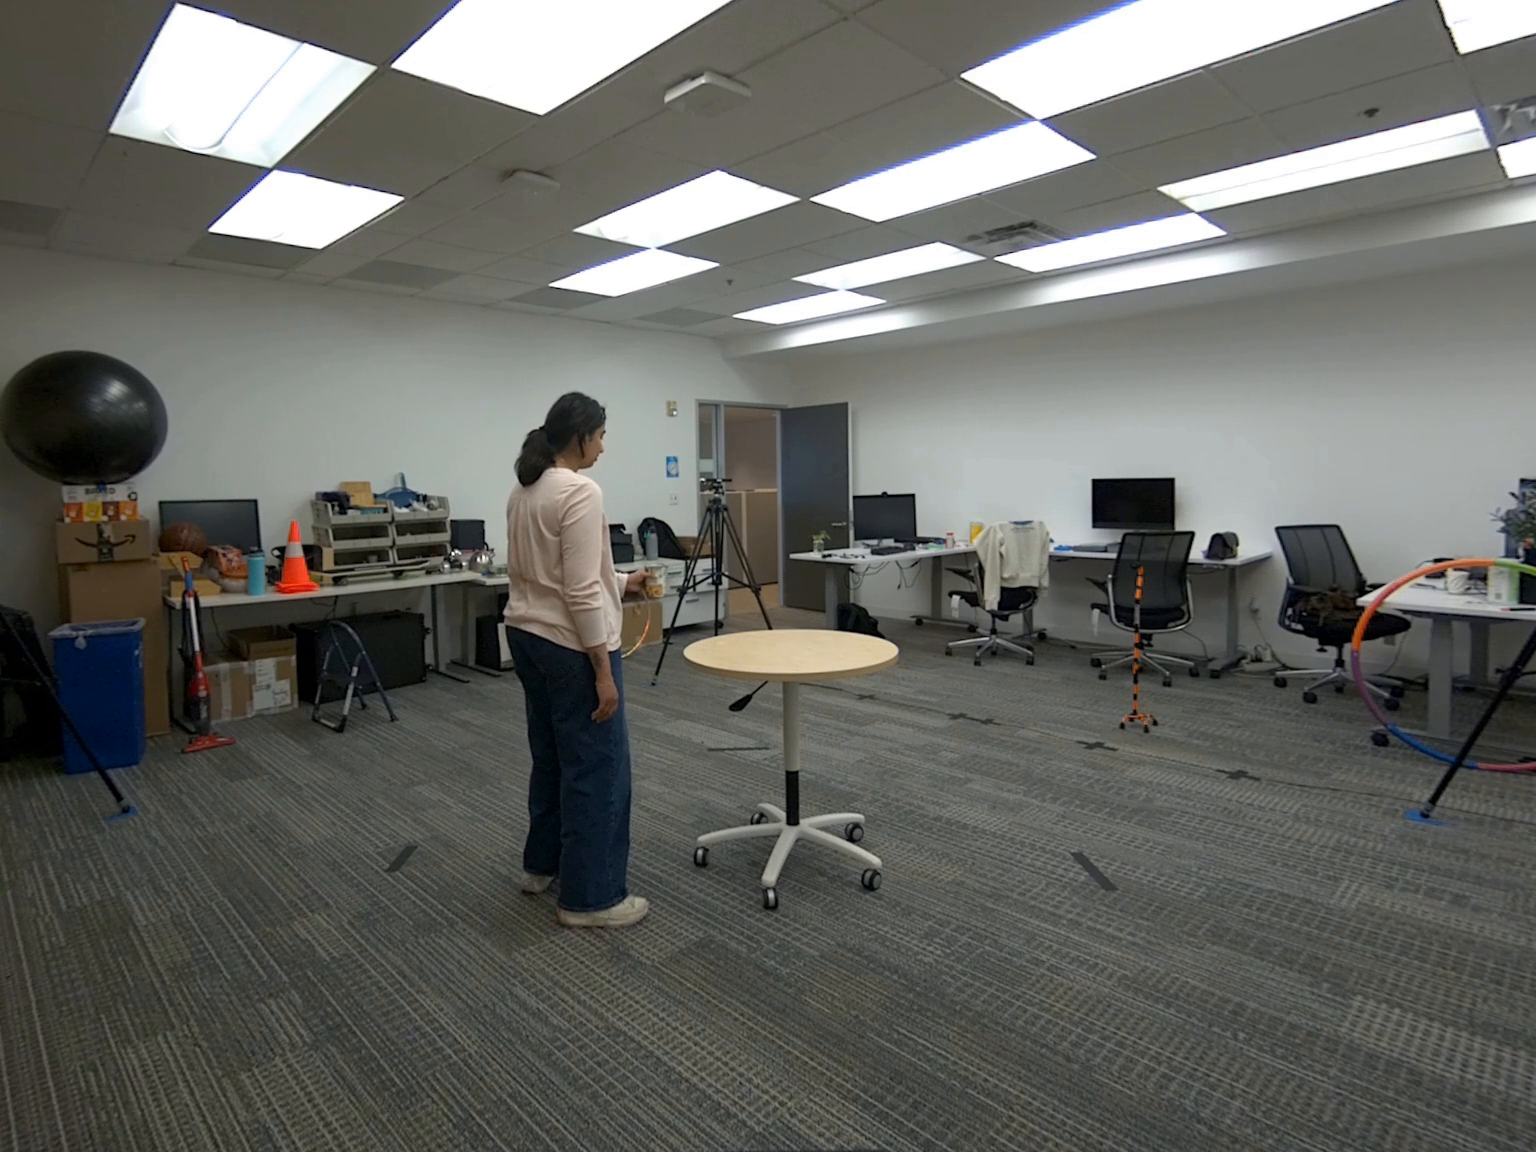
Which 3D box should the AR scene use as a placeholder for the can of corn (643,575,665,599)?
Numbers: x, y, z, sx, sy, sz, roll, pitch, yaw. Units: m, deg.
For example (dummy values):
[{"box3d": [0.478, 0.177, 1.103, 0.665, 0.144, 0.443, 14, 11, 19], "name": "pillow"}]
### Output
[{"box3d": [-0.411, 0.014, 3.110, 0.074, 0.110, 0.075, 0, 6, -2], "name": "can of corn"}]
